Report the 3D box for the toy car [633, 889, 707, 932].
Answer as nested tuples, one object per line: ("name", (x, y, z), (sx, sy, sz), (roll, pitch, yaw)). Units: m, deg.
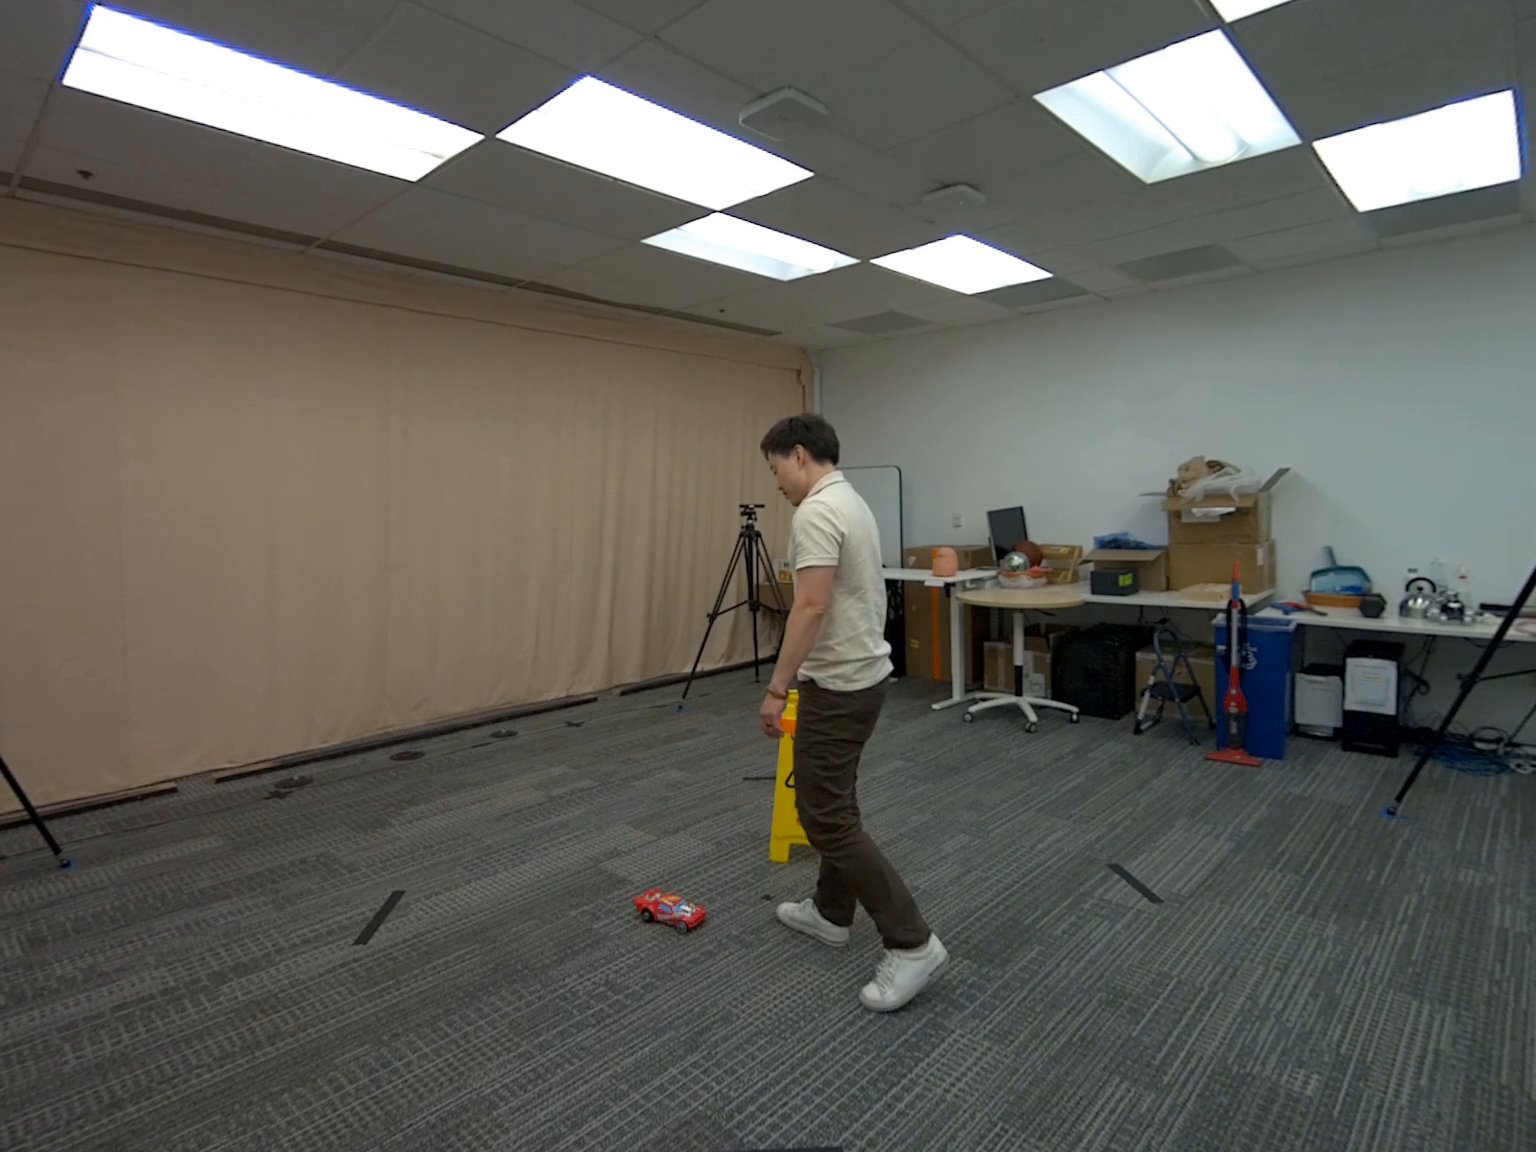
("toy car", (-0.335, 1.128, 2.837), (0.263, 0.083, 0.127), (14, 13, 32))
